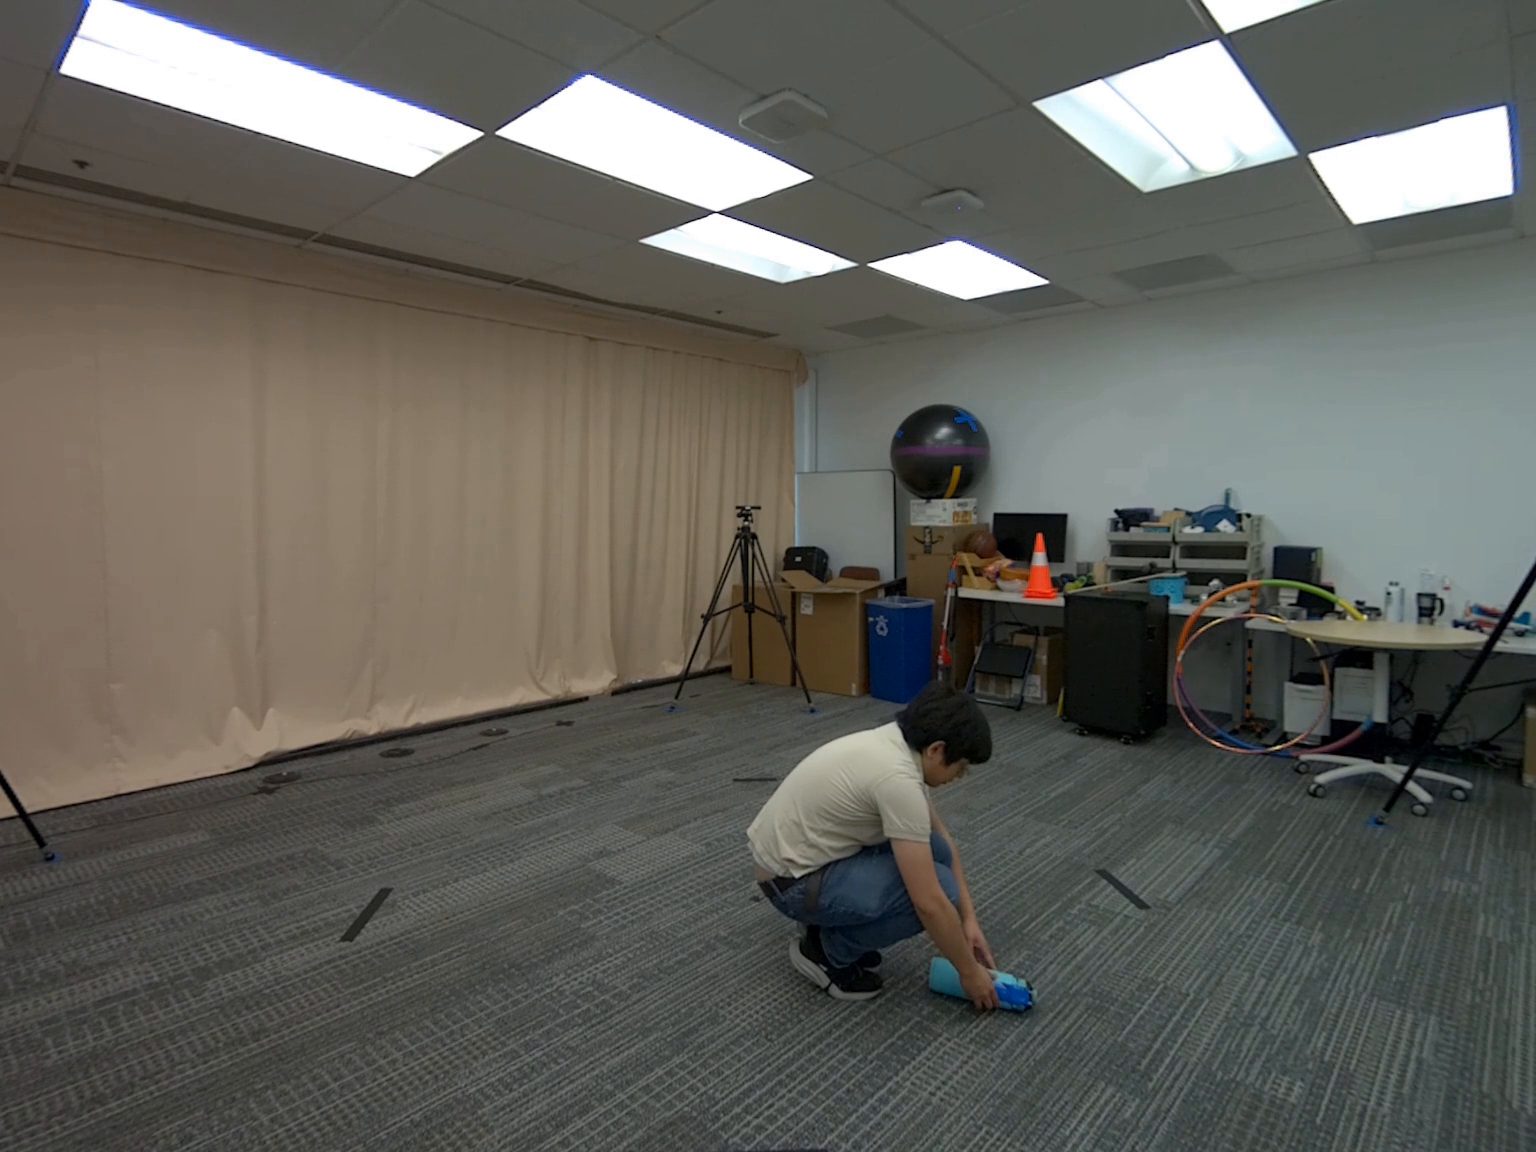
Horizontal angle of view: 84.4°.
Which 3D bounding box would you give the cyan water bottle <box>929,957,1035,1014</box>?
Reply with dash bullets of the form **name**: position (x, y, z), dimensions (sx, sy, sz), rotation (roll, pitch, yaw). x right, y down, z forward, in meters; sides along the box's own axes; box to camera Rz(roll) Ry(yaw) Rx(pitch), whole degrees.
- **cyan water bottle**: position (0.612, 1.151, 2.356), dimensions (0.291, 0.092, 0.090), rotation (3, 5, 26)
